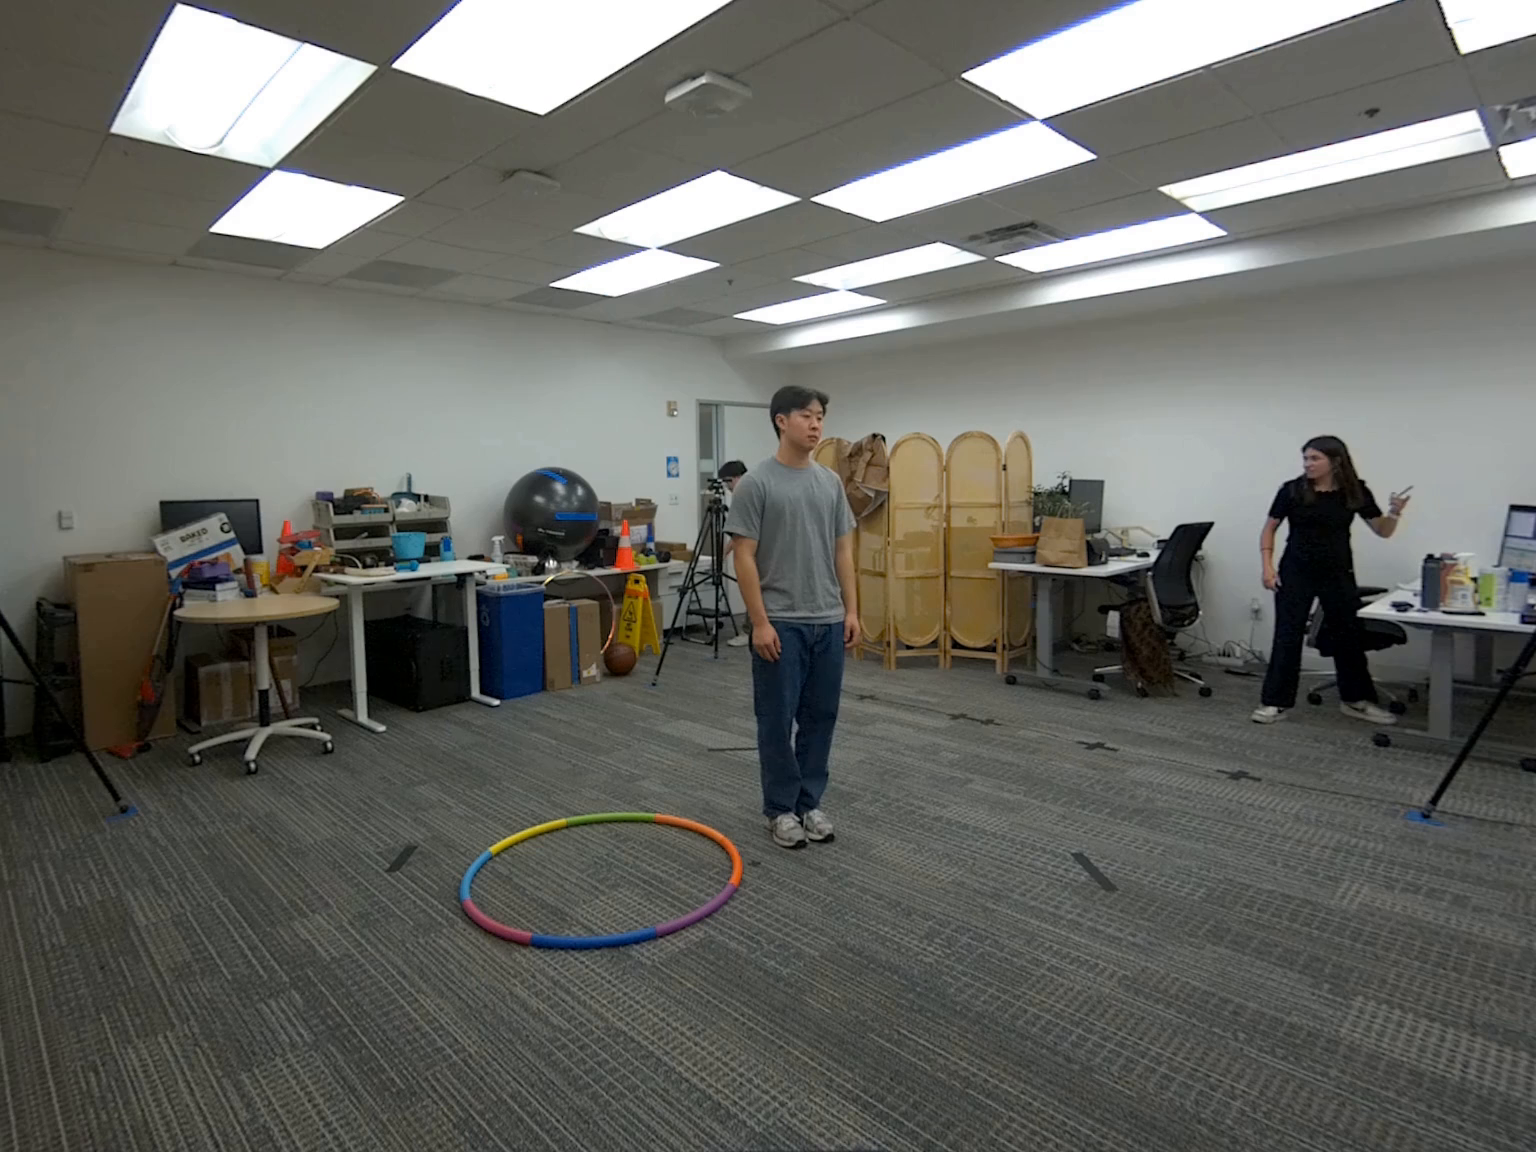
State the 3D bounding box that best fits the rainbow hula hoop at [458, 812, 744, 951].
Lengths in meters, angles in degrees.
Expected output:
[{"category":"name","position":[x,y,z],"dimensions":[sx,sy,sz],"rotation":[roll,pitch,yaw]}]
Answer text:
[{"category":"rainbow hula hoop","position":[-0.580,1.033,3.041],"dimensions":[0.978,0.035,0.984],"rotation":[-1,7,-2]}]
